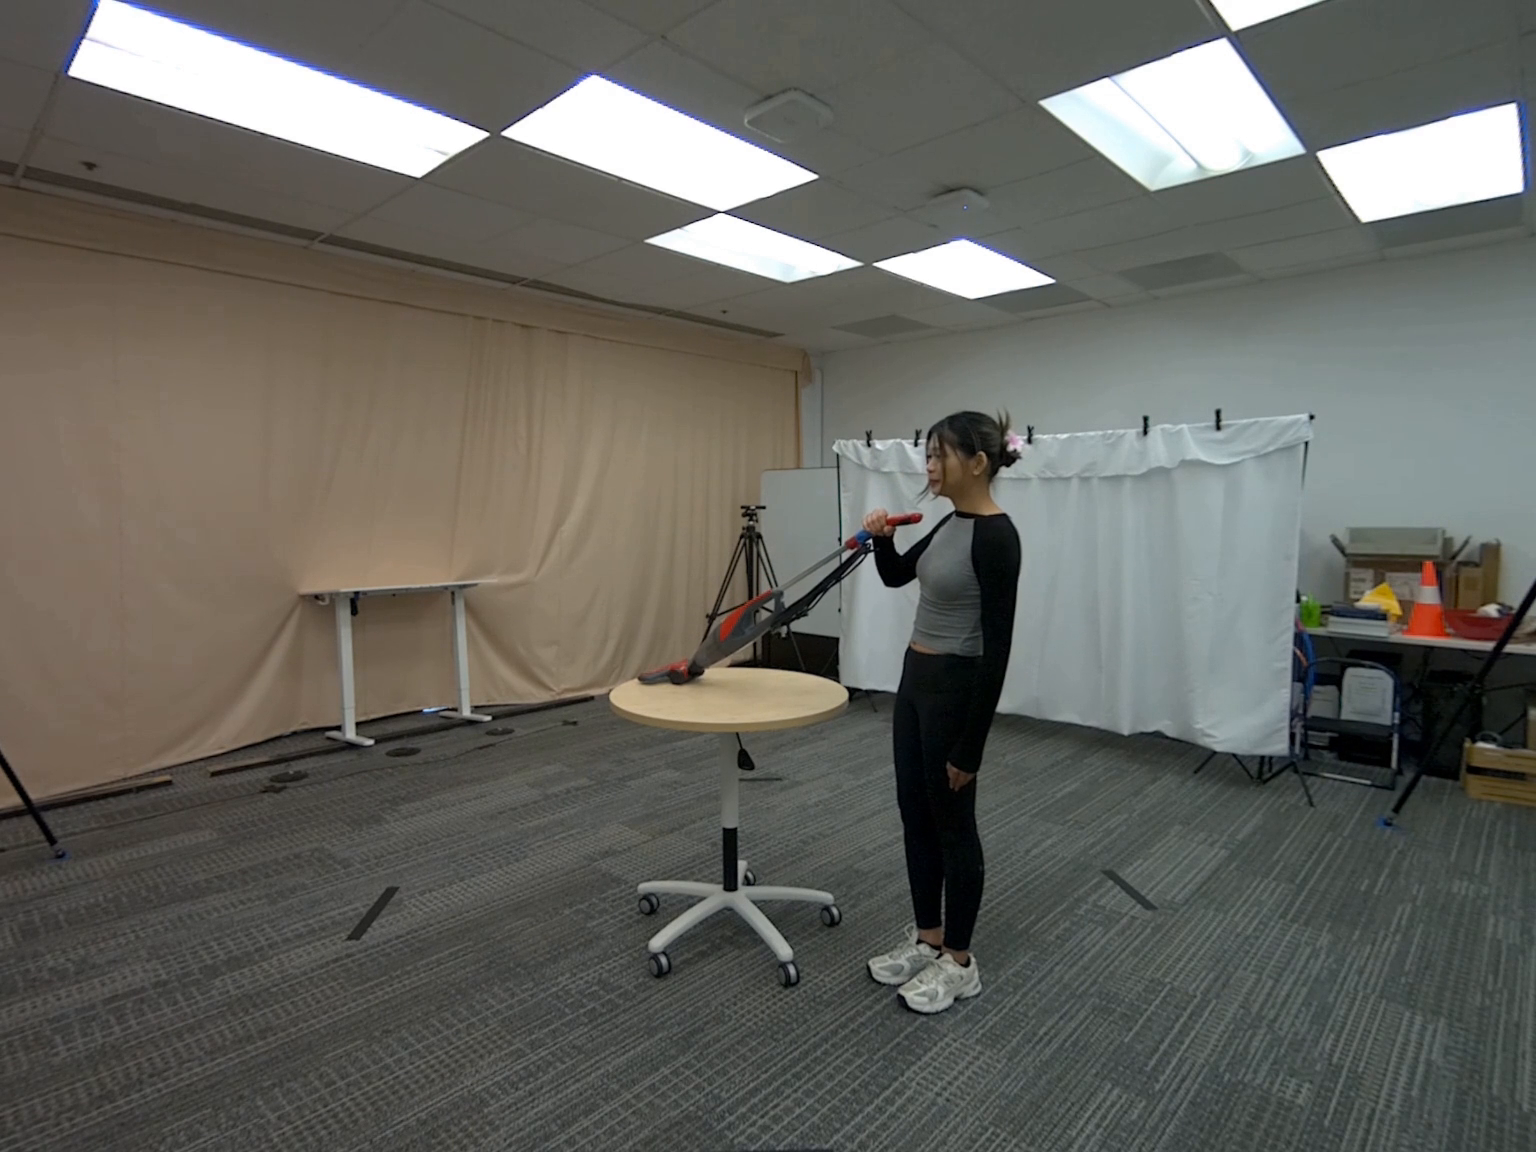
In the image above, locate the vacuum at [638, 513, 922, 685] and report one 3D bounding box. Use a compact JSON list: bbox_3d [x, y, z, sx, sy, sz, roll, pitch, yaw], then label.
[{"bbox_3d":[0.024,0.102,2.611,1.064,0.145,0.246,-34,-11,33],"label":"vacuum"}]
